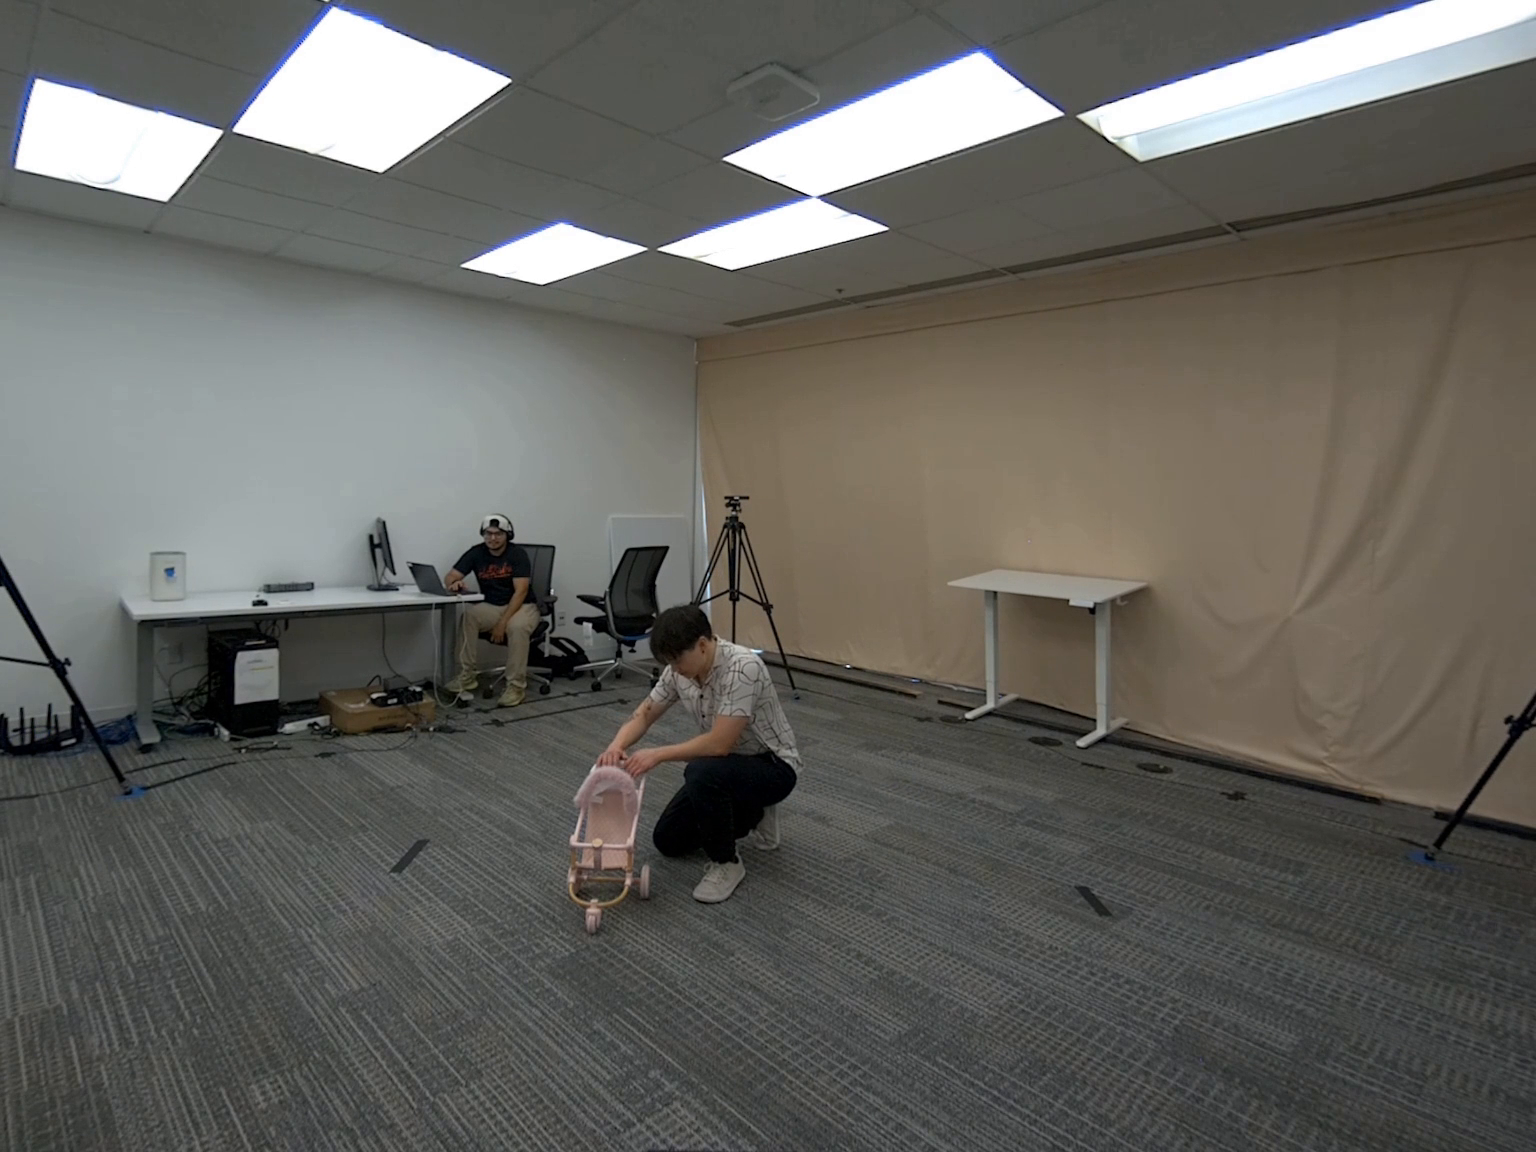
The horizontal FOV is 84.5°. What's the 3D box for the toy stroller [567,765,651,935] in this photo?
[{"bbox_3d":[-0.552,0.896,2.851,0.283,0.540,0.336,1,-13,7],"label":"toy stroller"}]
